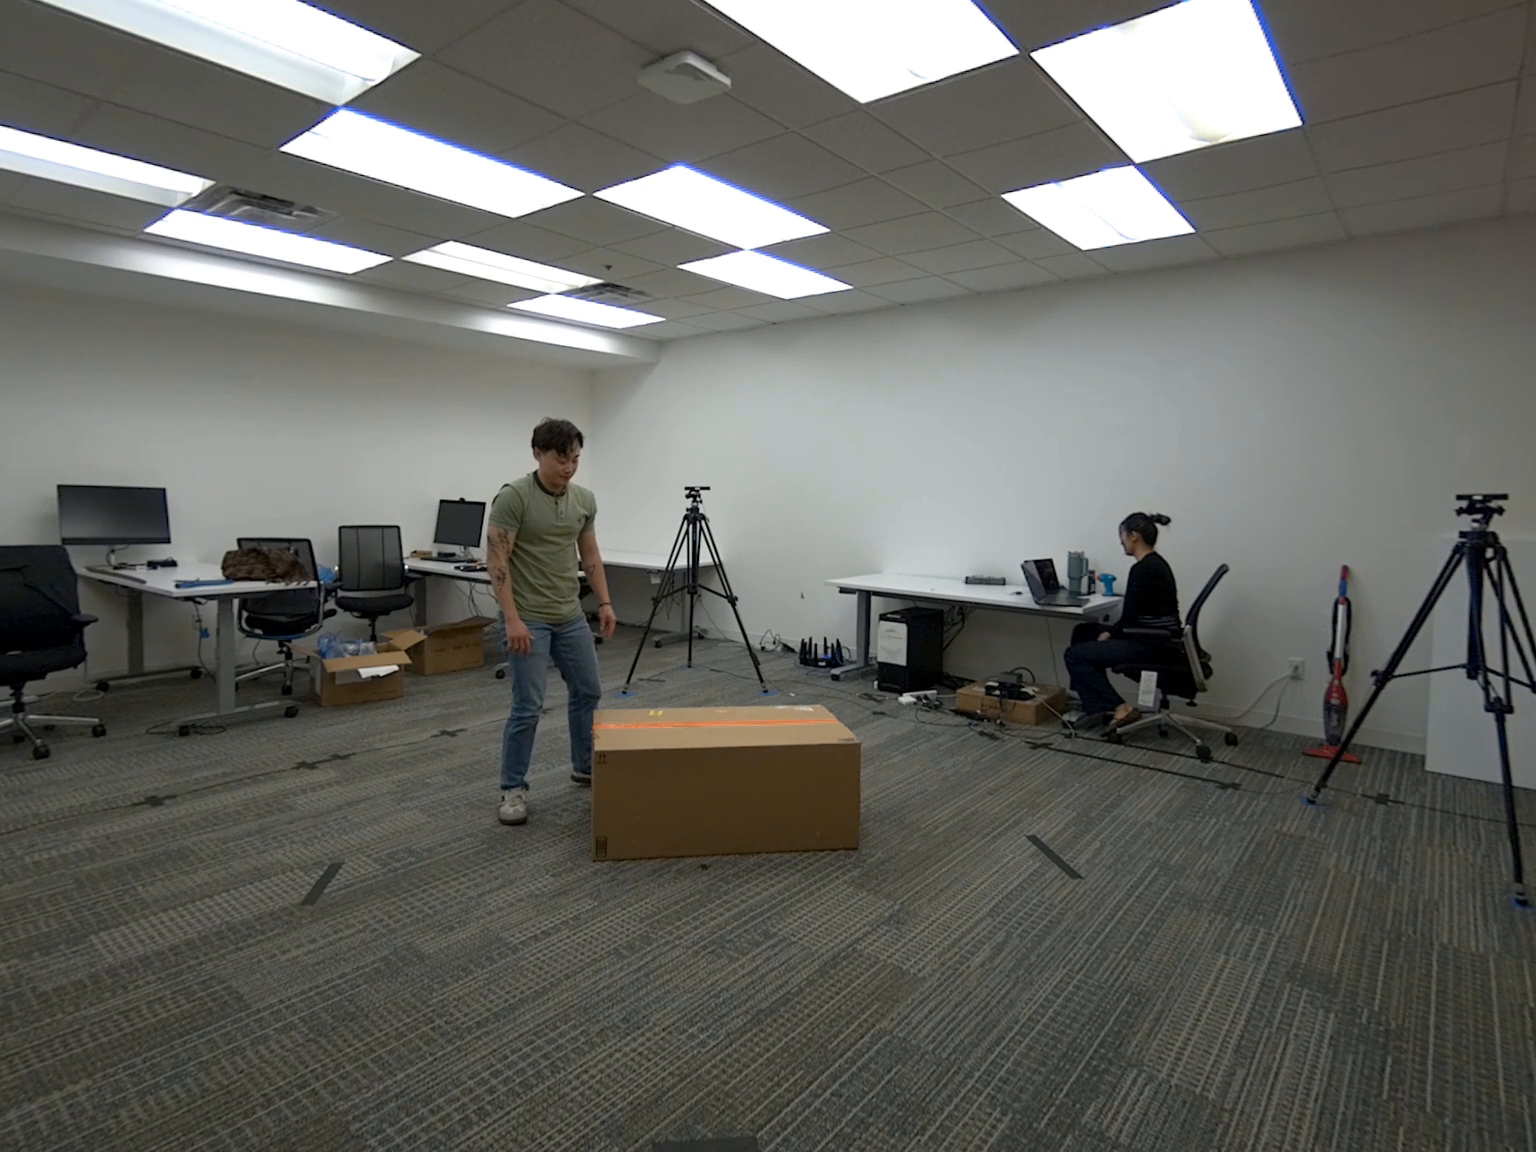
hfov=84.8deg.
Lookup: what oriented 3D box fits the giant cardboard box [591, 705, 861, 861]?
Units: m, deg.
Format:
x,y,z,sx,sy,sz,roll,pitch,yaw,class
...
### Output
x,y,z,sx,sy,sz,roll,pitch,yaw,class
-0.209,0.812,3.484,1.016,0.425,0.585,0,4,-9,giant cardboard box
